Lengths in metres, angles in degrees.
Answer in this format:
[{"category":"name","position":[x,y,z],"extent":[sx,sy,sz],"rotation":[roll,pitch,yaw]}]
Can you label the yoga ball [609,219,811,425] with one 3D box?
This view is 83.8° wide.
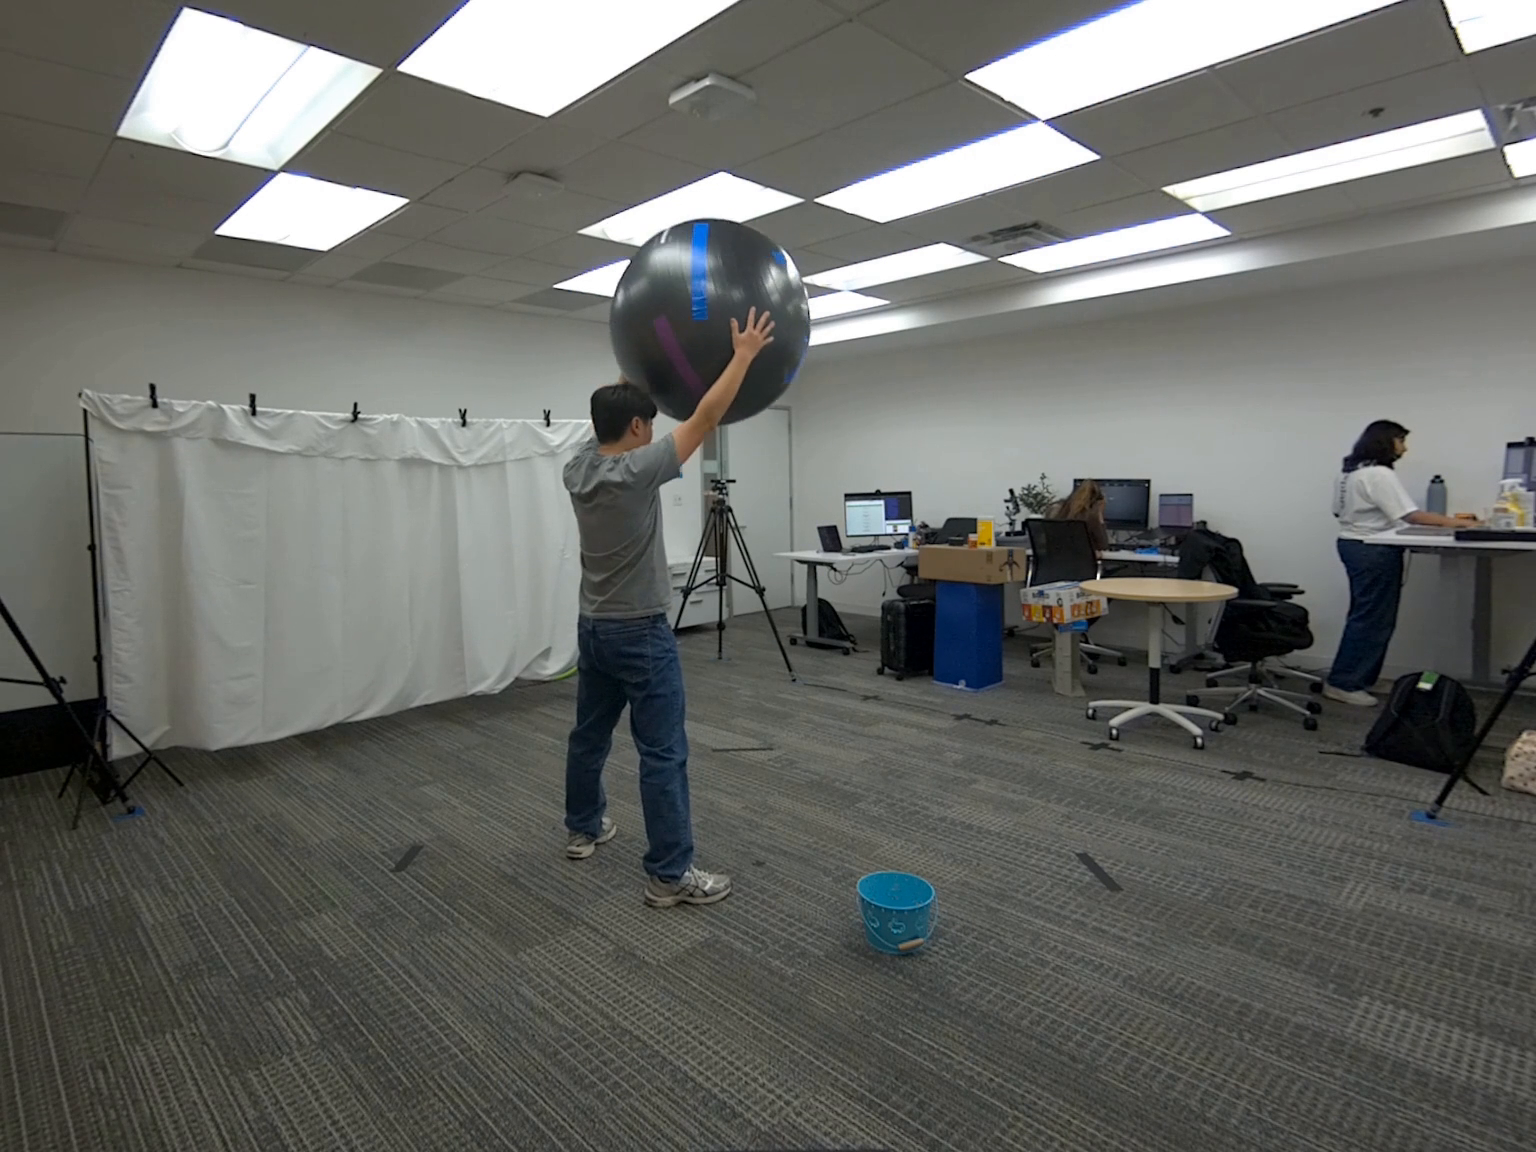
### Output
[{"category":"yoga ball","position":[-0.213,-0.922,3.232],"extent":[0.757,0.755,0.762],"rotation":[-1,5,-2]}]
